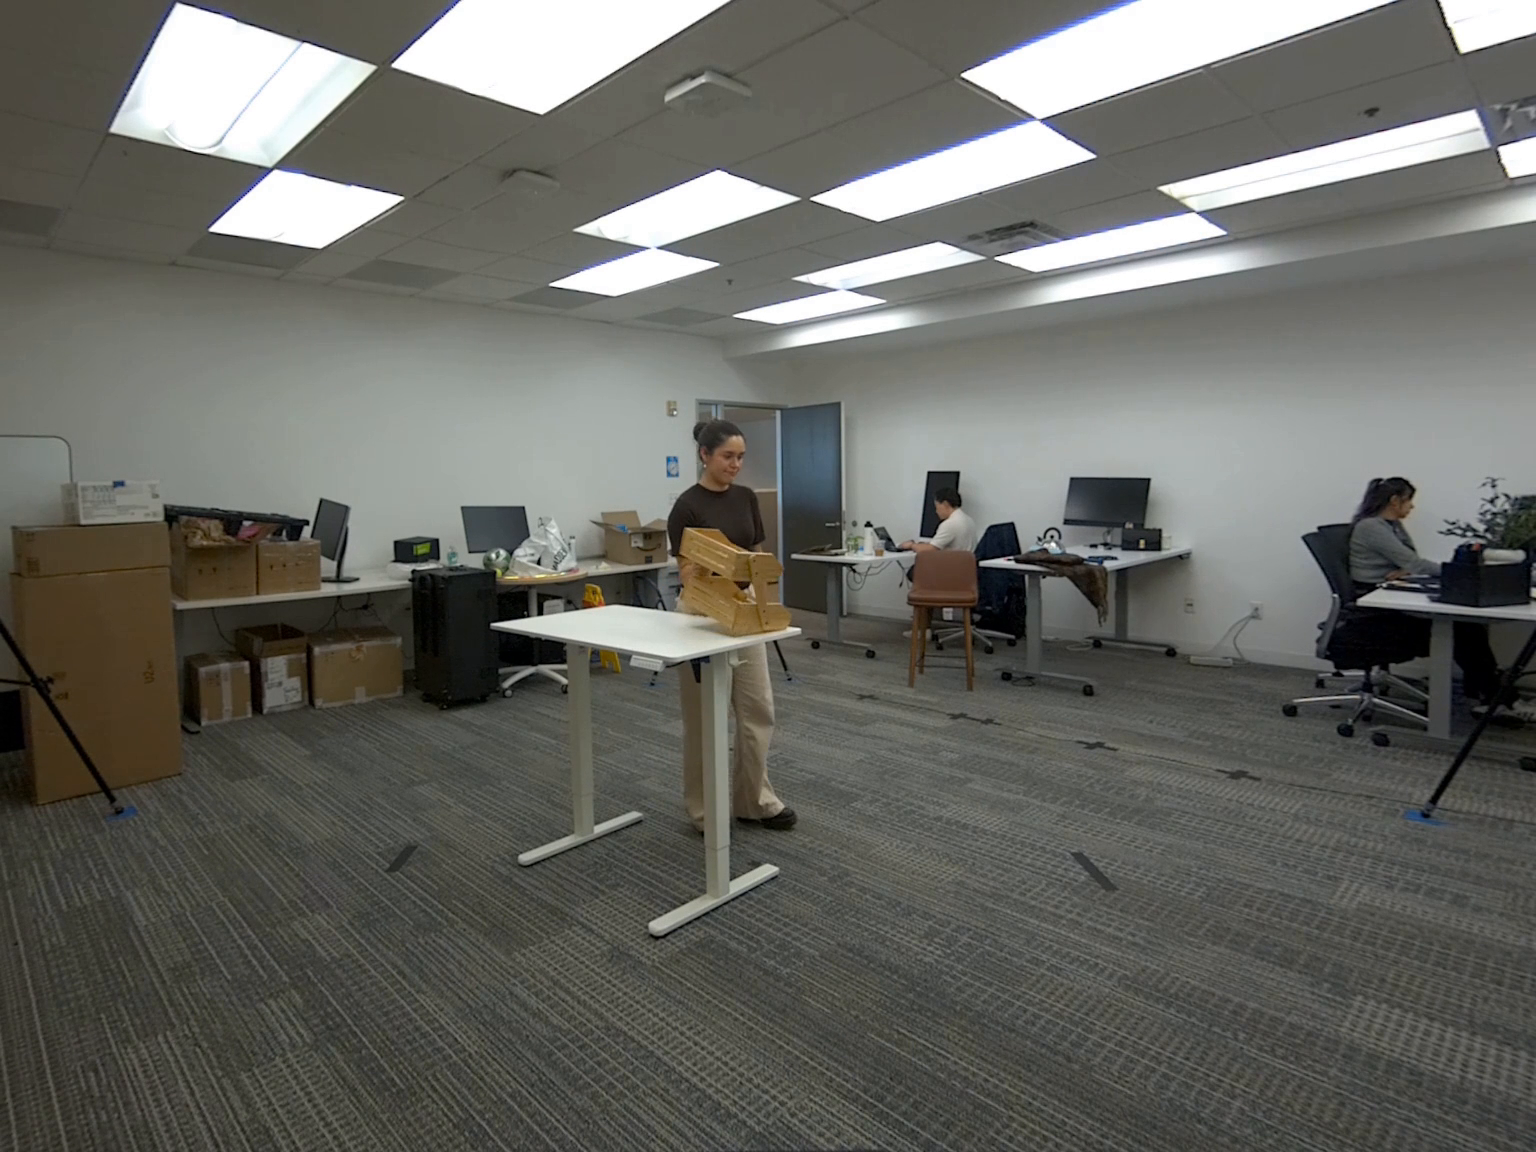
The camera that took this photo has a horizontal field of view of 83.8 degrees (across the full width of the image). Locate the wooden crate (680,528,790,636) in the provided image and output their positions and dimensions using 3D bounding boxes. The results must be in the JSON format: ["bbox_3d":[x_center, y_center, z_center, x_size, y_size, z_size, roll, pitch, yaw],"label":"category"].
[{"bbox_3d":[-0.097,0.002,2.896,0.293,0.271,0.337,2,15,-39],"label":"wooden crate"}]
